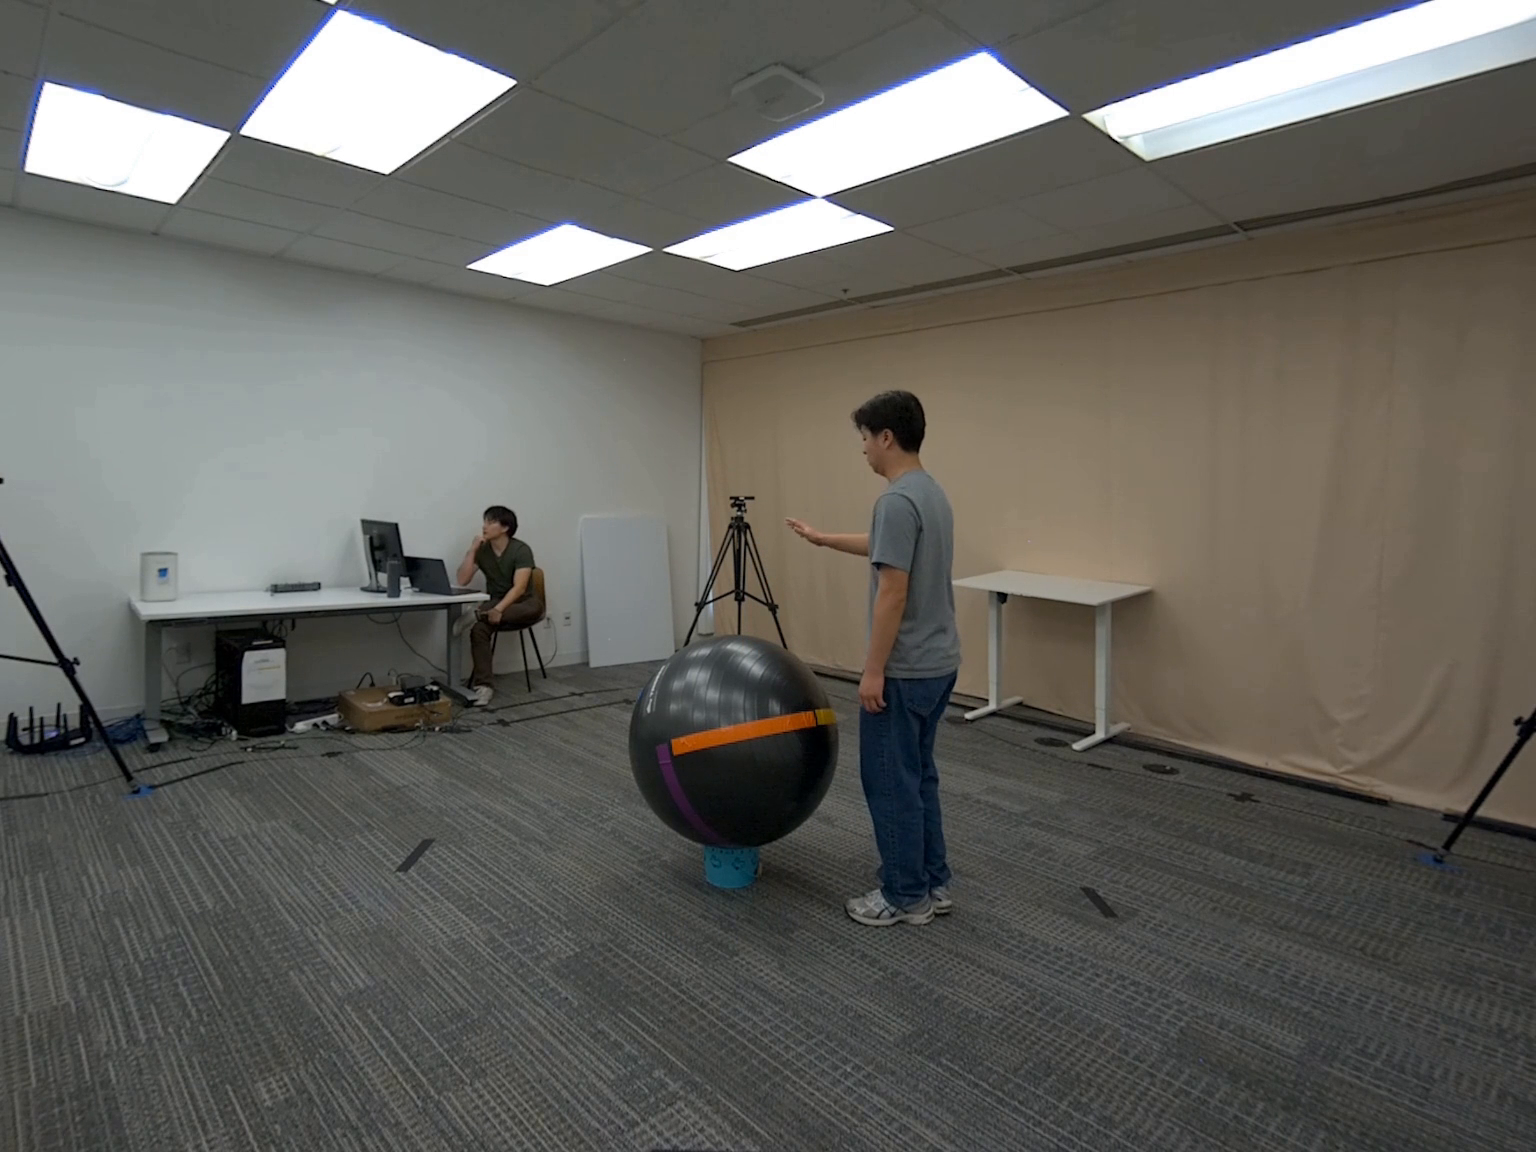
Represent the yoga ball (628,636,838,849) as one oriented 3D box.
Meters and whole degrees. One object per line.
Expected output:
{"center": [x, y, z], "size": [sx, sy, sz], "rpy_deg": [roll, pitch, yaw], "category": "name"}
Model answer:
{"center": [-0.132, 0.595, 3.065], "size": [0.757, 0.756, 0.761], "rpy_deg": [1, 4, -1], "category": "yoga ball"}
